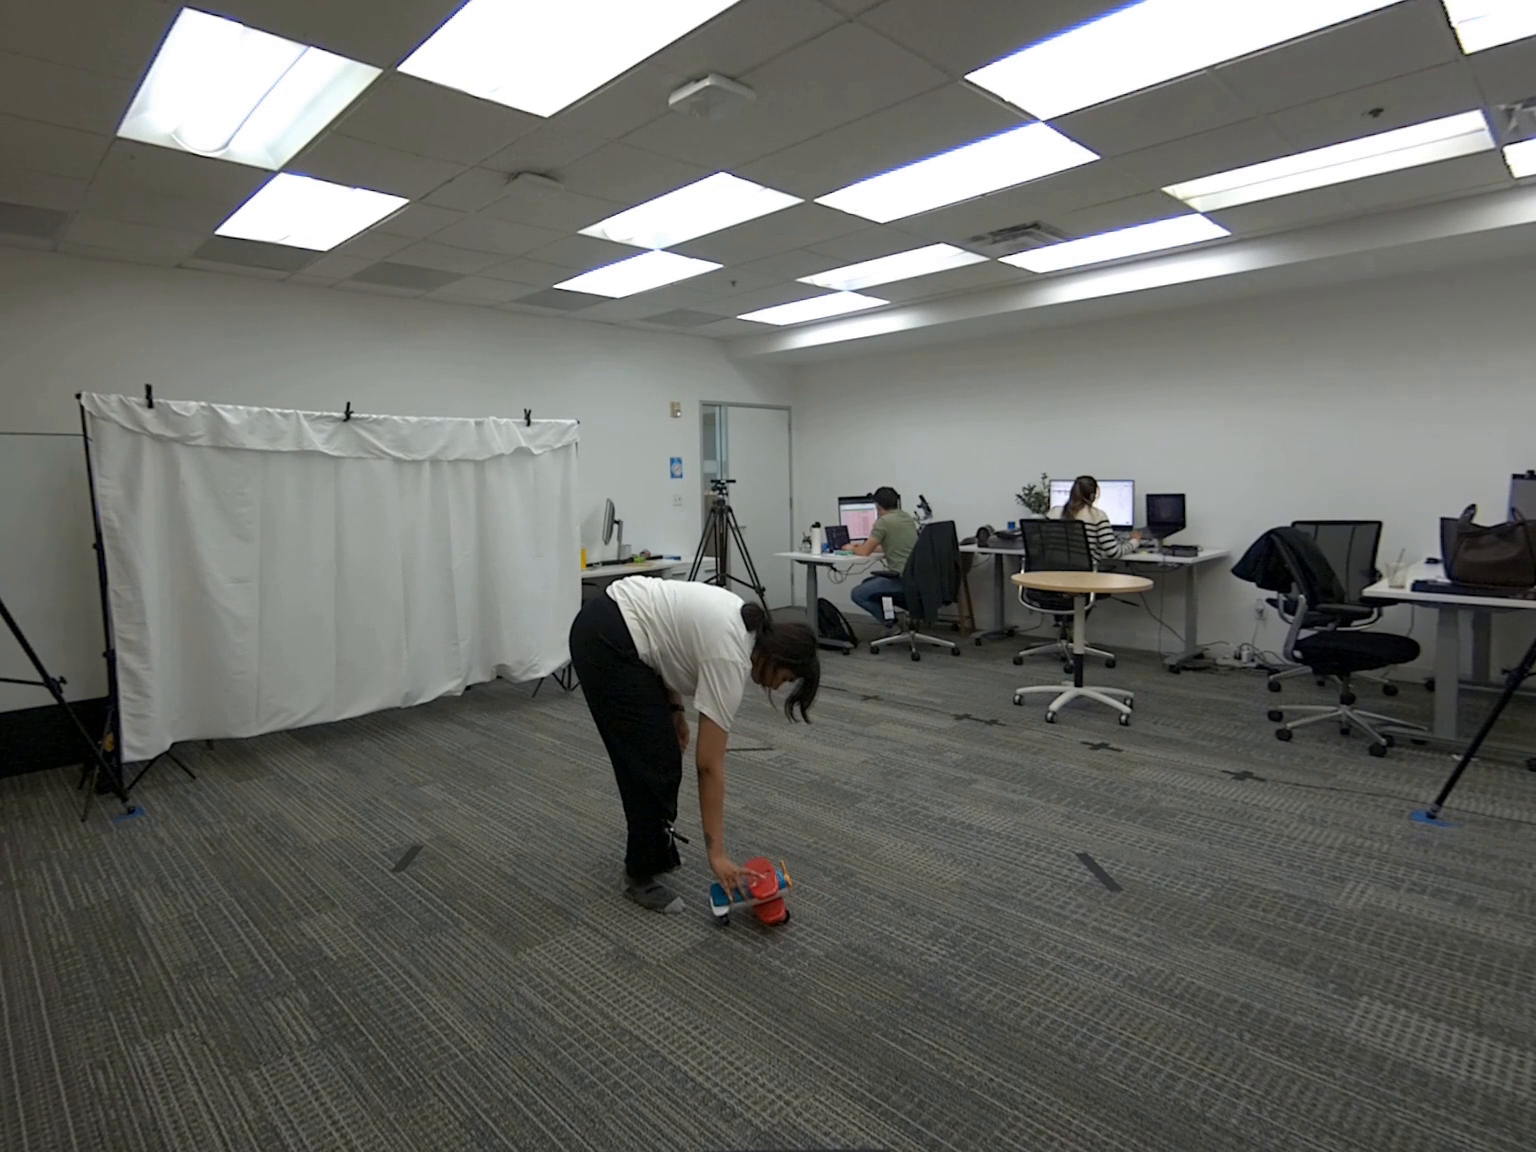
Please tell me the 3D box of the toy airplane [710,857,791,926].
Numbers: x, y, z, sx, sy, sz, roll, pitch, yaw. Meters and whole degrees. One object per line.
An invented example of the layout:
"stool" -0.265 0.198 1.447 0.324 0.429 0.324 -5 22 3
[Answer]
"toy airplane" -0.040 1.026 2.691 0.253 0.155 0.259 -6 9 -36
